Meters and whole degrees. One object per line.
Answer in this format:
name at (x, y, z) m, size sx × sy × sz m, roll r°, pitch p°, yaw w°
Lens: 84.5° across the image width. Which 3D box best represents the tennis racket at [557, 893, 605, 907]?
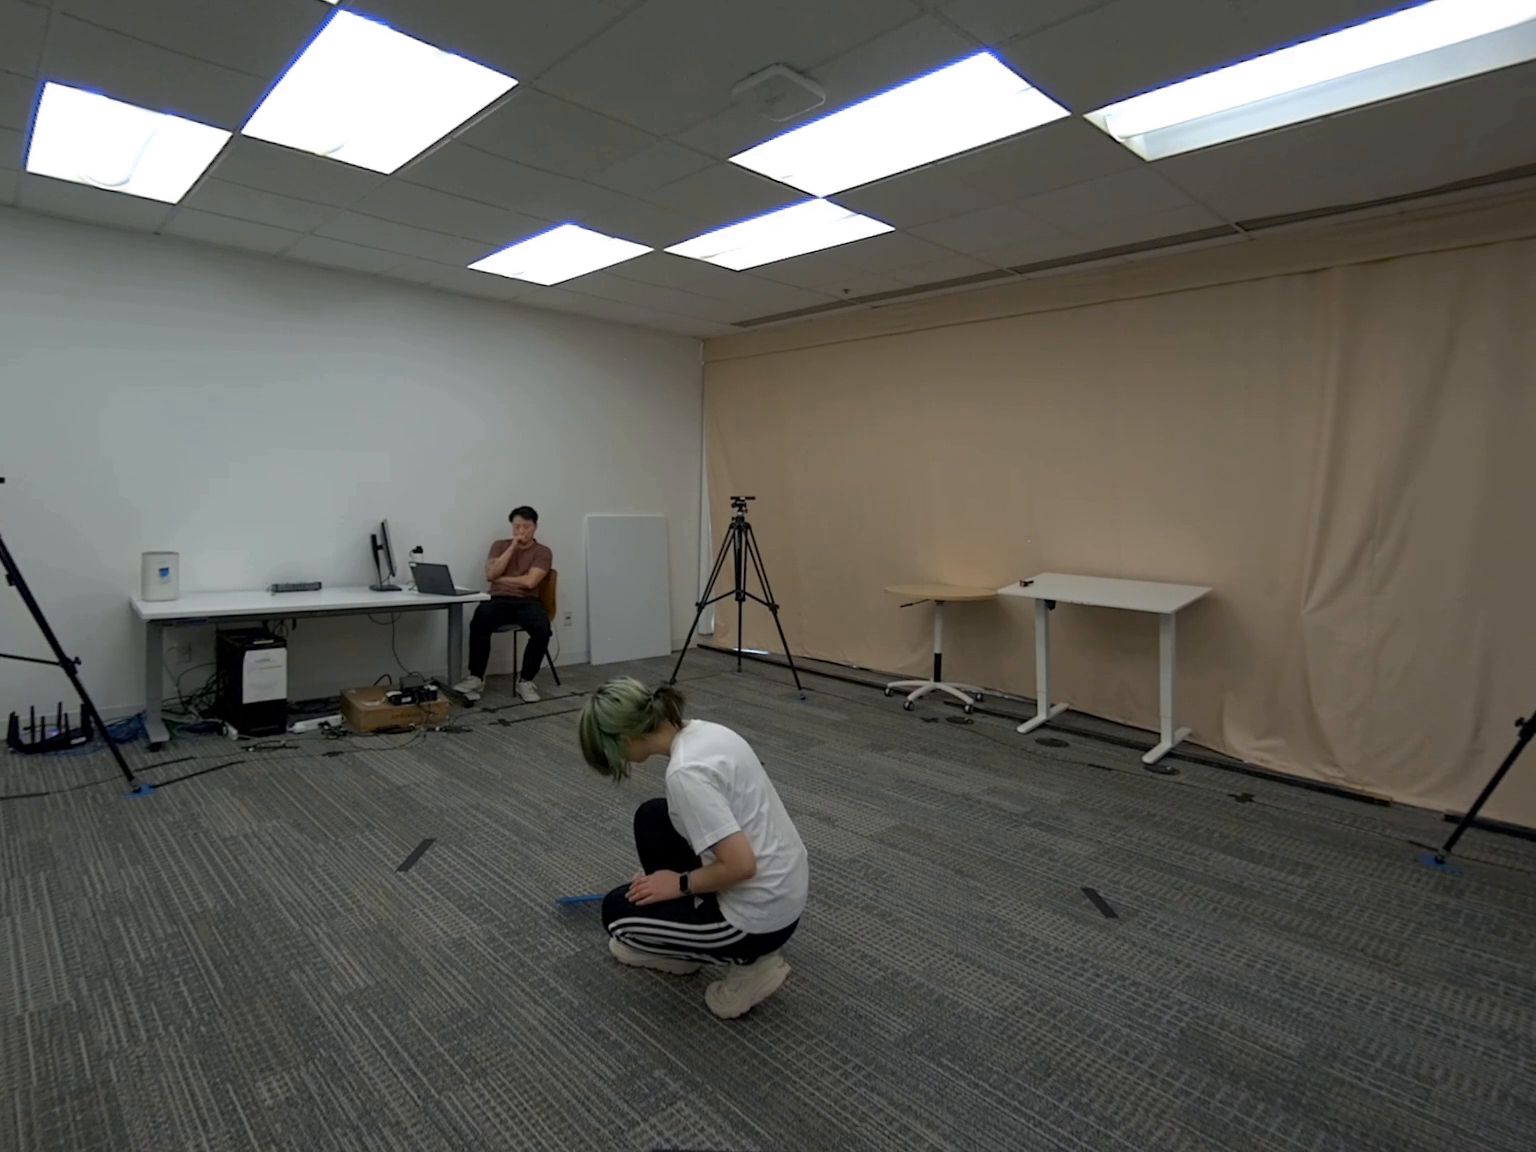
tennis racket at (-0.533, 1.049, 2.741) m, size 0.439 × 0.032 × 0.208 m, roll -21°, pitch -22°, yaw 41°
